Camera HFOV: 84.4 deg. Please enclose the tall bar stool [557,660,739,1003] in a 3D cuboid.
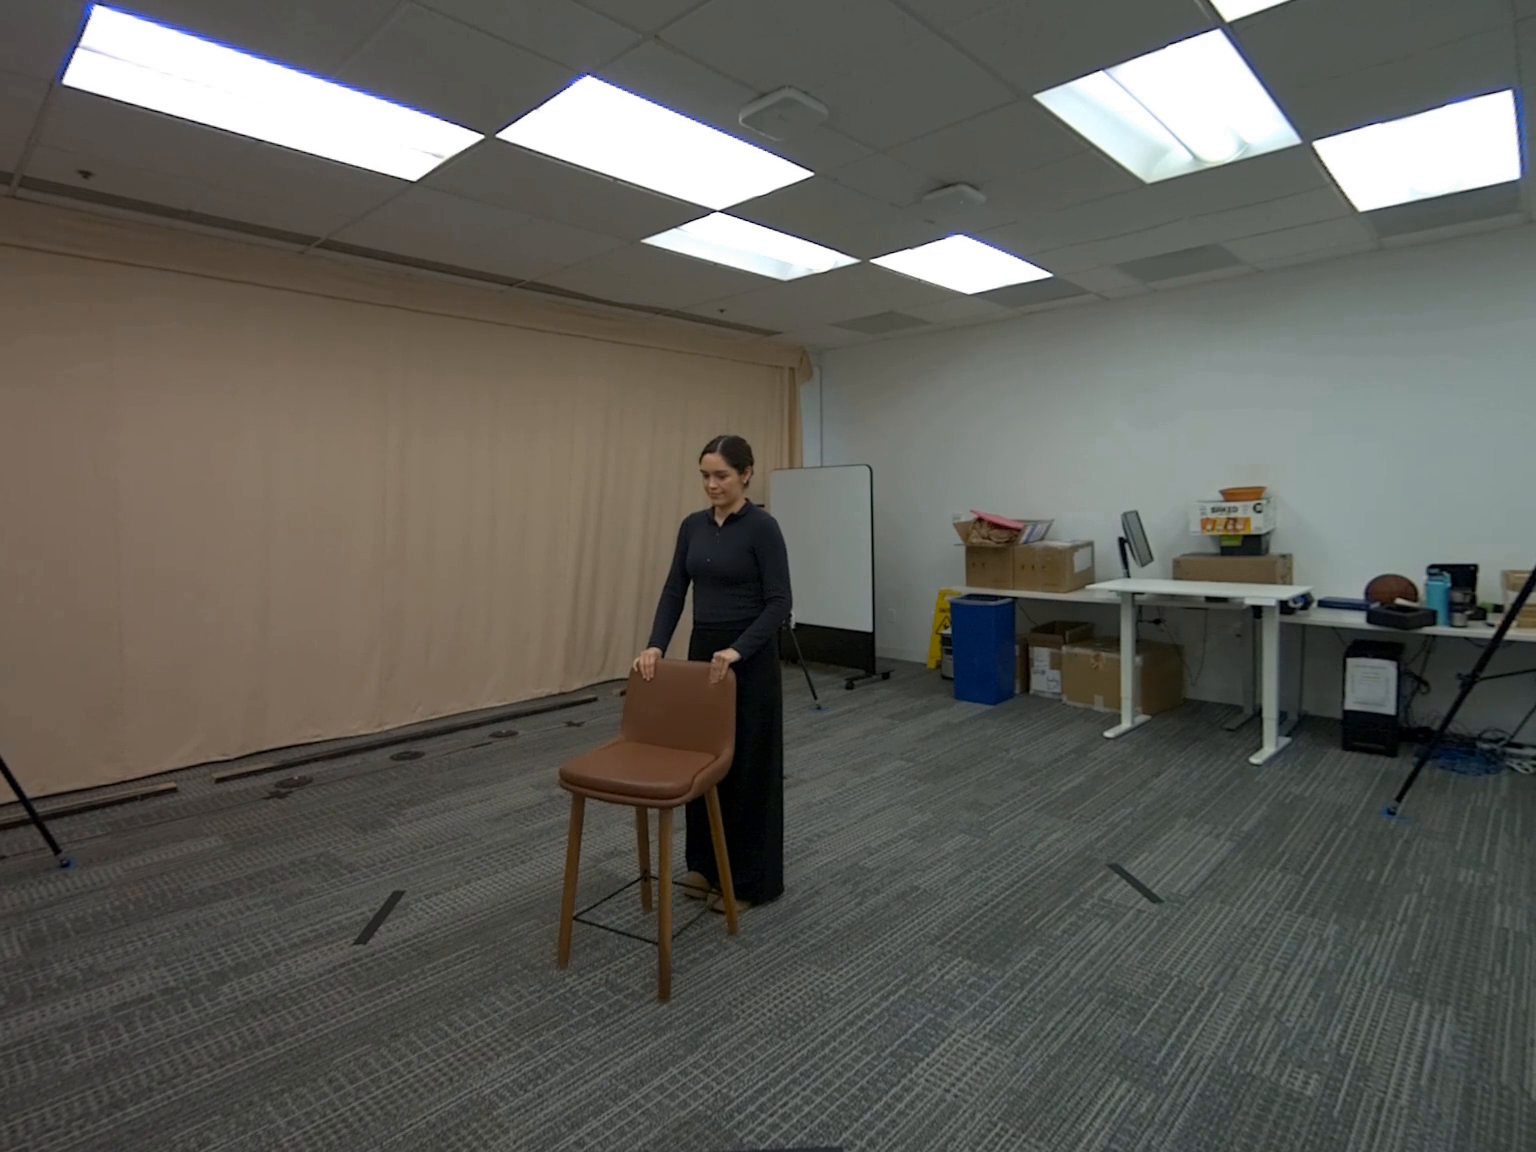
[{"bbox_3d":[-0.360,0.740,2.631,0.470,0.889,0.454,1,1,31],"label":"tall bar stool"}]
